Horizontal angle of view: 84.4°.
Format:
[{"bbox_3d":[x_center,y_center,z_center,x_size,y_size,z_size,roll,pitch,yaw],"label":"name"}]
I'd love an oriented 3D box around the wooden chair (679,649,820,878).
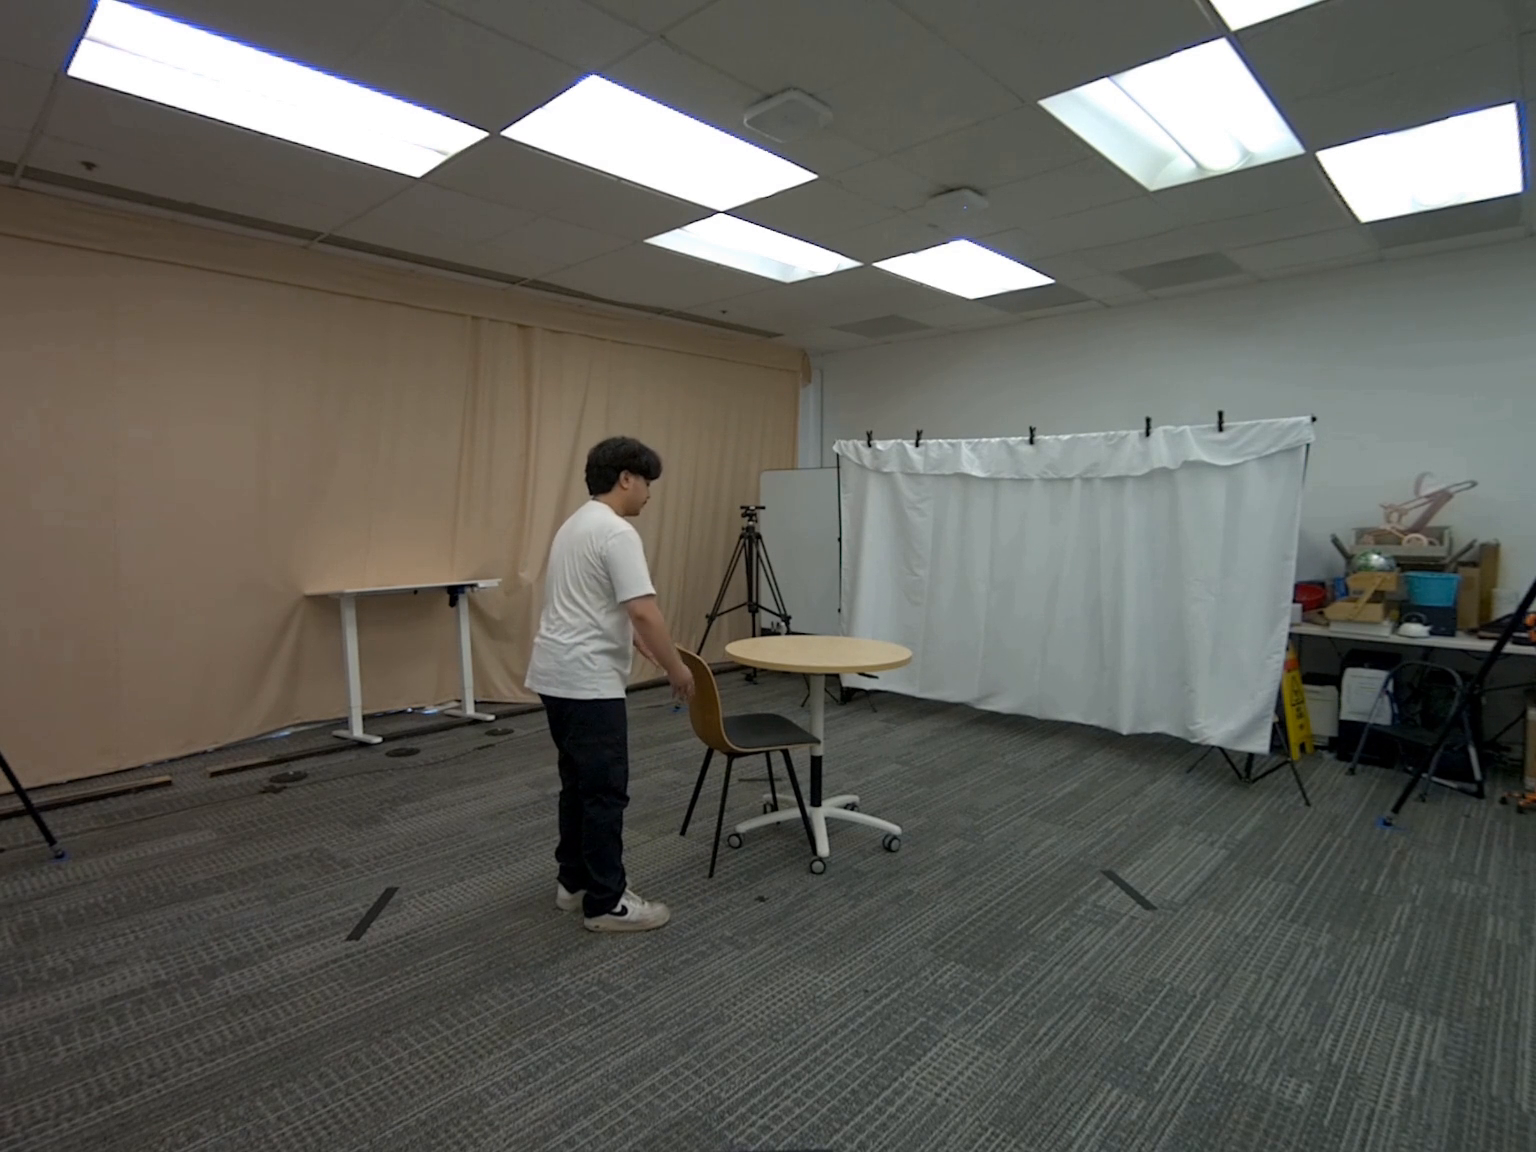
[{"bbox_3d":[-0.078,0.682,3.392,0.514,0.875,0.488,-6,4,-18],"label":"wooden chair"}]
